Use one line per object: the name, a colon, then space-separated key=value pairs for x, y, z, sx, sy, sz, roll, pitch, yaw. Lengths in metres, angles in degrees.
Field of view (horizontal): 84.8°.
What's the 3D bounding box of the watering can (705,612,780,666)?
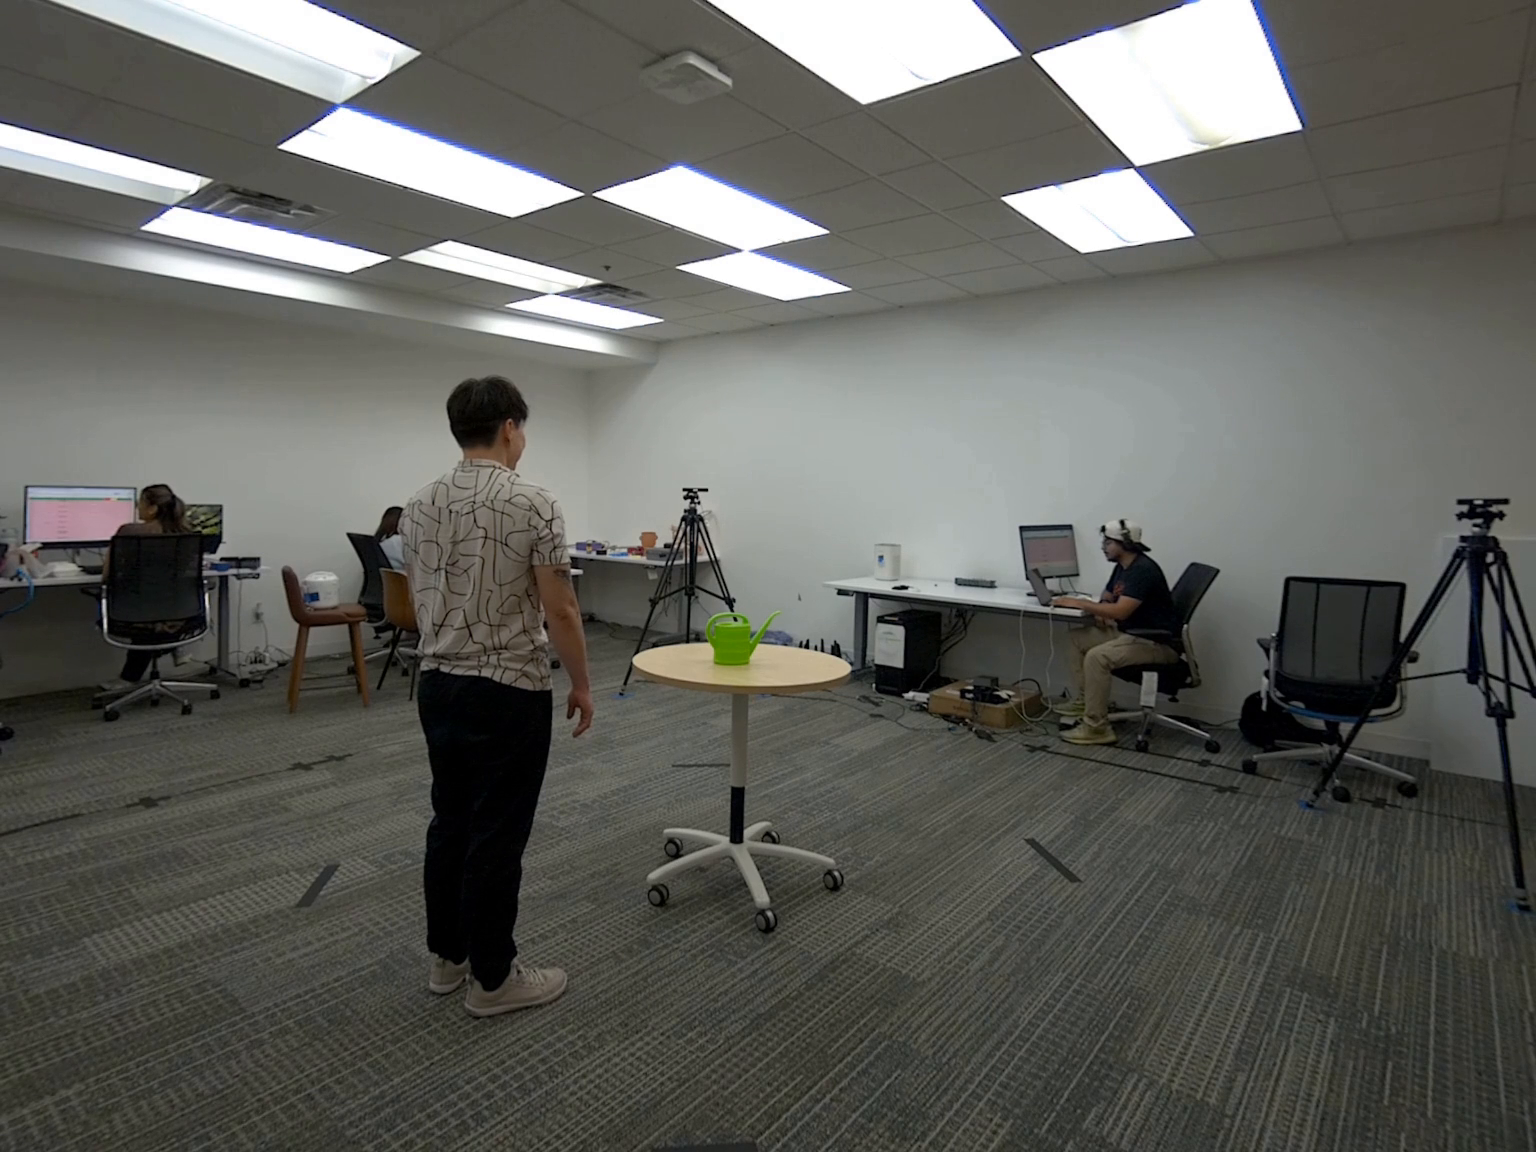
watering can: x=-0.091 y=0.221 z=2.964 sx=0.277 sy=0.176 sz=0.099 roll=1 pitch=6 yaw=-3
